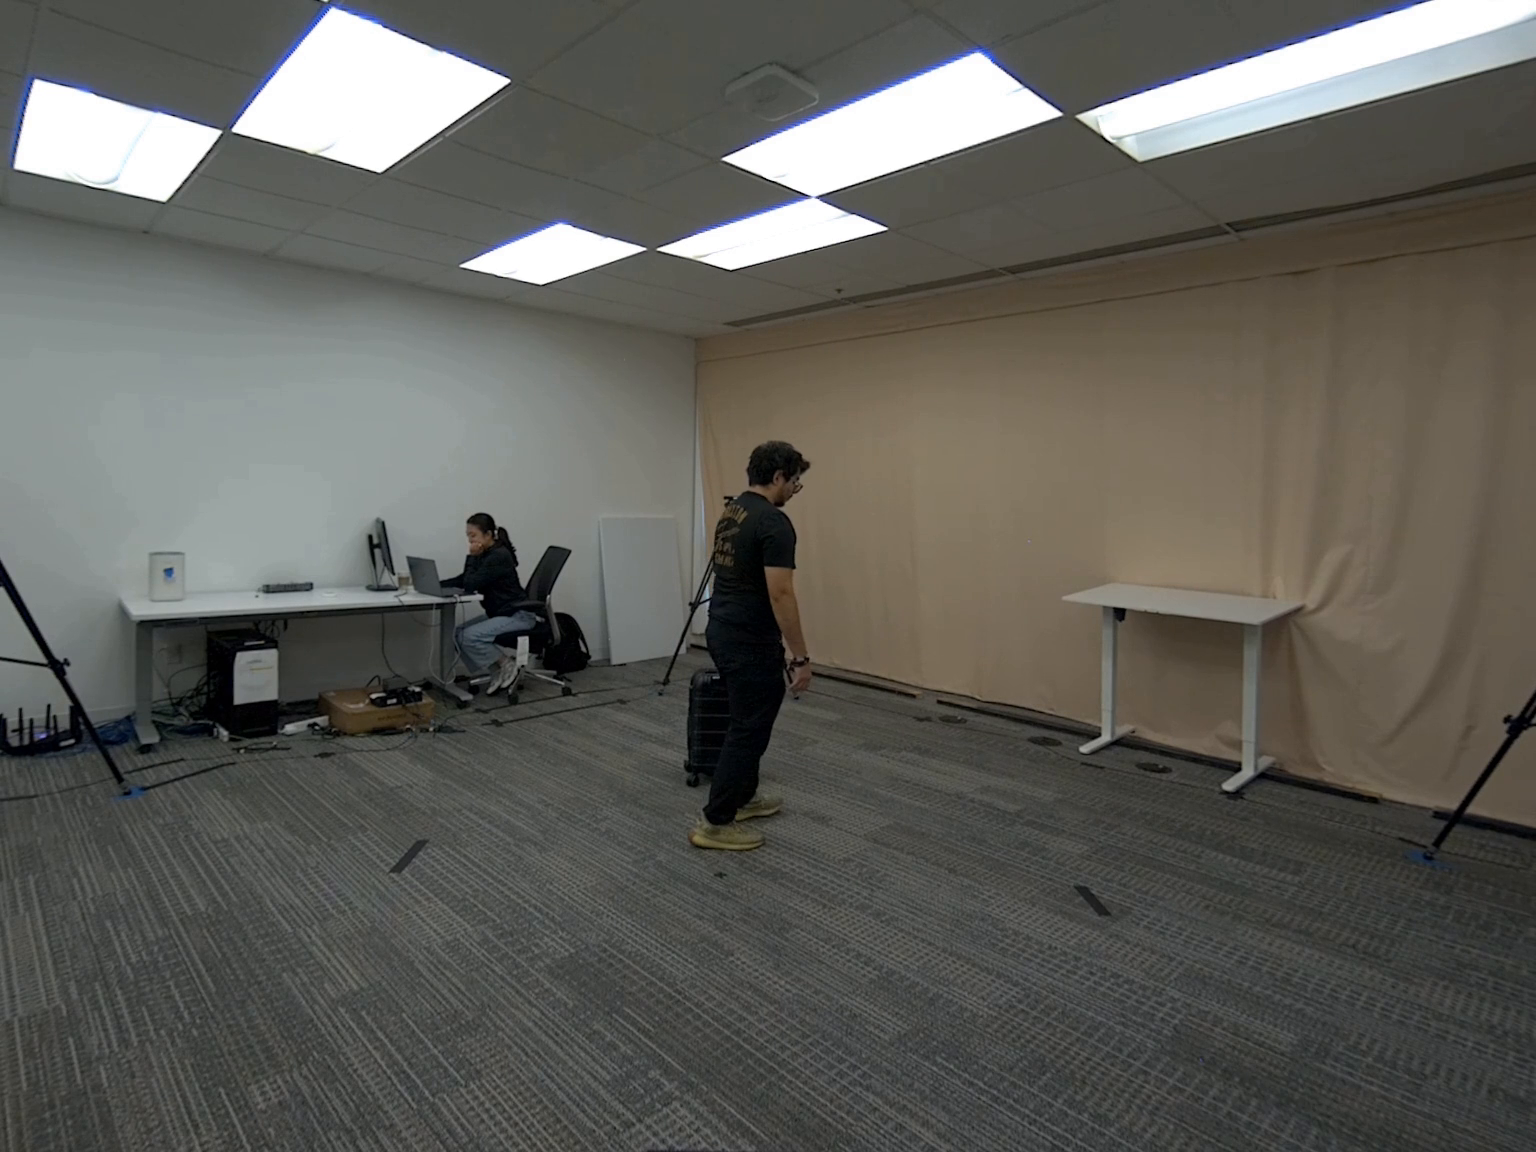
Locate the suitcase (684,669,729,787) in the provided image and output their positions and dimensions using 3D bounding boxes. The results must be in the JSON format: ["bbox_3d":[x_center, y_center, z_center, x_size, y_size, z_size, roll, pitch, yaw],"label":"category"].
[{"bbox_3d":[-0.224,0.730,4.188,0.374,0.548,0.250,2,3,-5],"label":"suitcase"}]
